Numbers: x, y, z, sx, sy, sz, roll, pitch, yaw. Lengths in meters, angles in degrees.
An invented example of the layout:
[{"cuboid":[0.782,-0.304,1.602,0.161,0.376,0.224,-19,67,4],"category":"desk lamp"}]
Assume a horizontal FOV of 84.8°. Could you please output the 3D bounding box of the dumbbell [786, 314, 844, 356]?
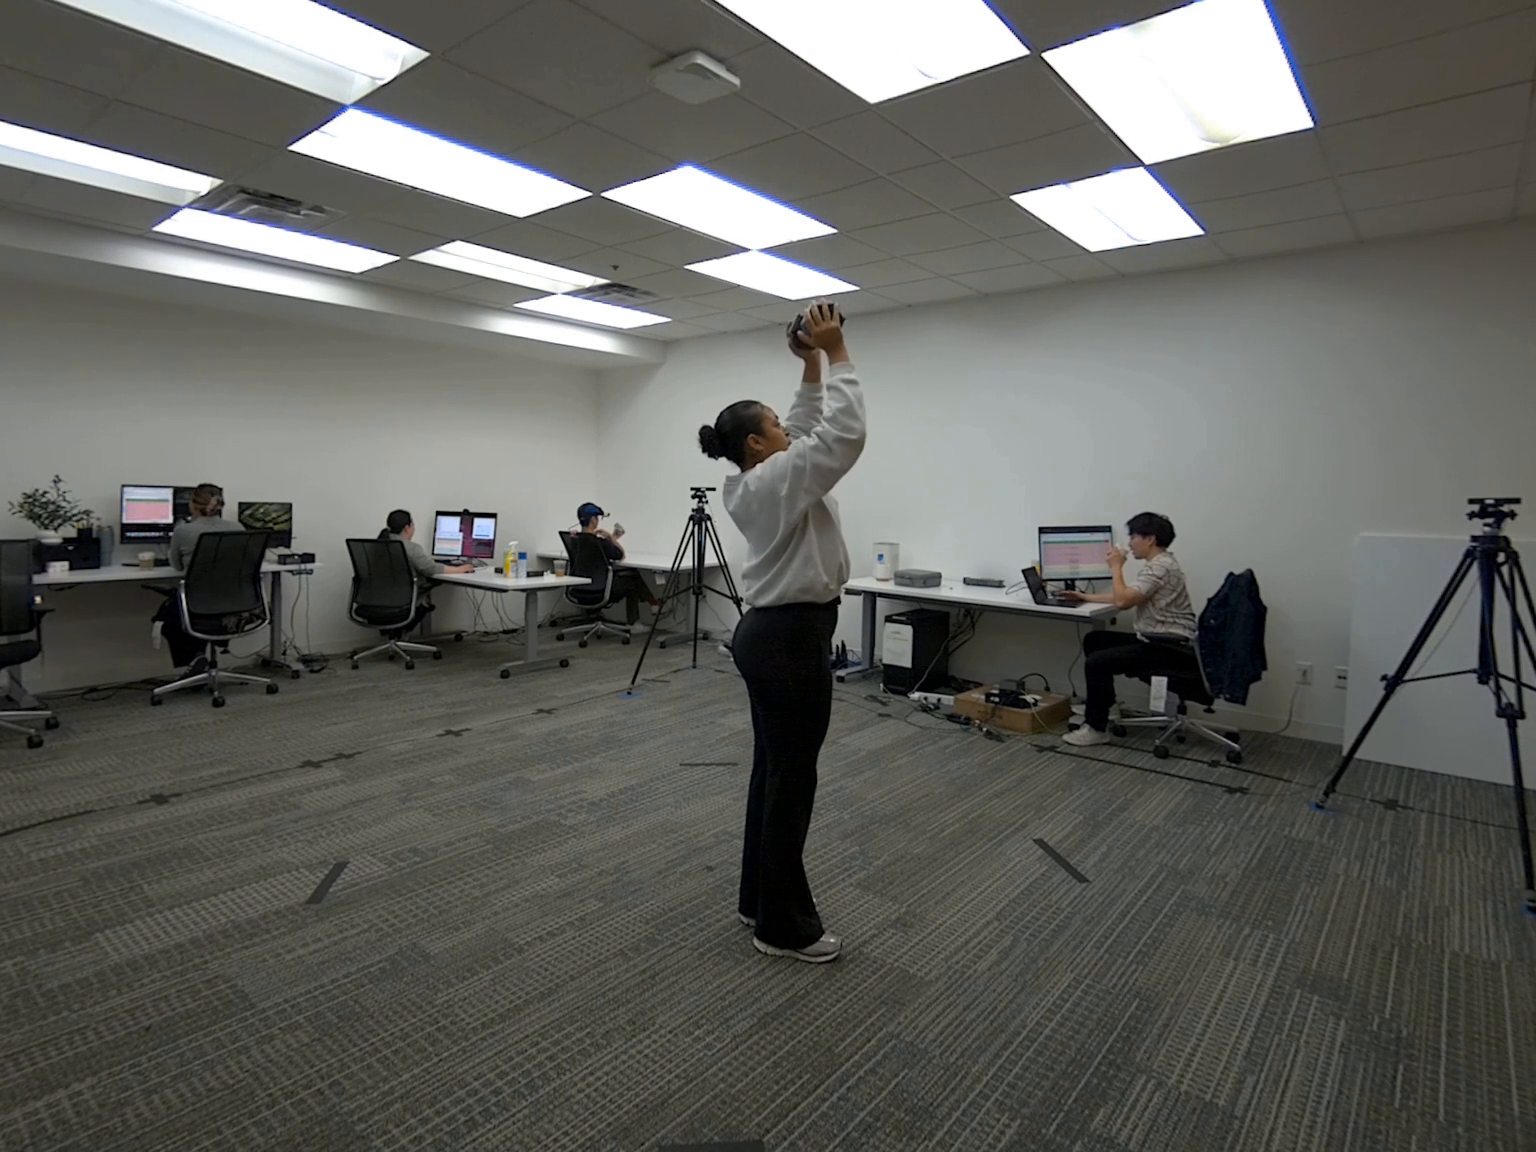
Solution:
[{"cuboid":[0.132,-0.754,2.598,0.107,0.123,0.298,26,4,-11],"category":"dumbbell"}]
